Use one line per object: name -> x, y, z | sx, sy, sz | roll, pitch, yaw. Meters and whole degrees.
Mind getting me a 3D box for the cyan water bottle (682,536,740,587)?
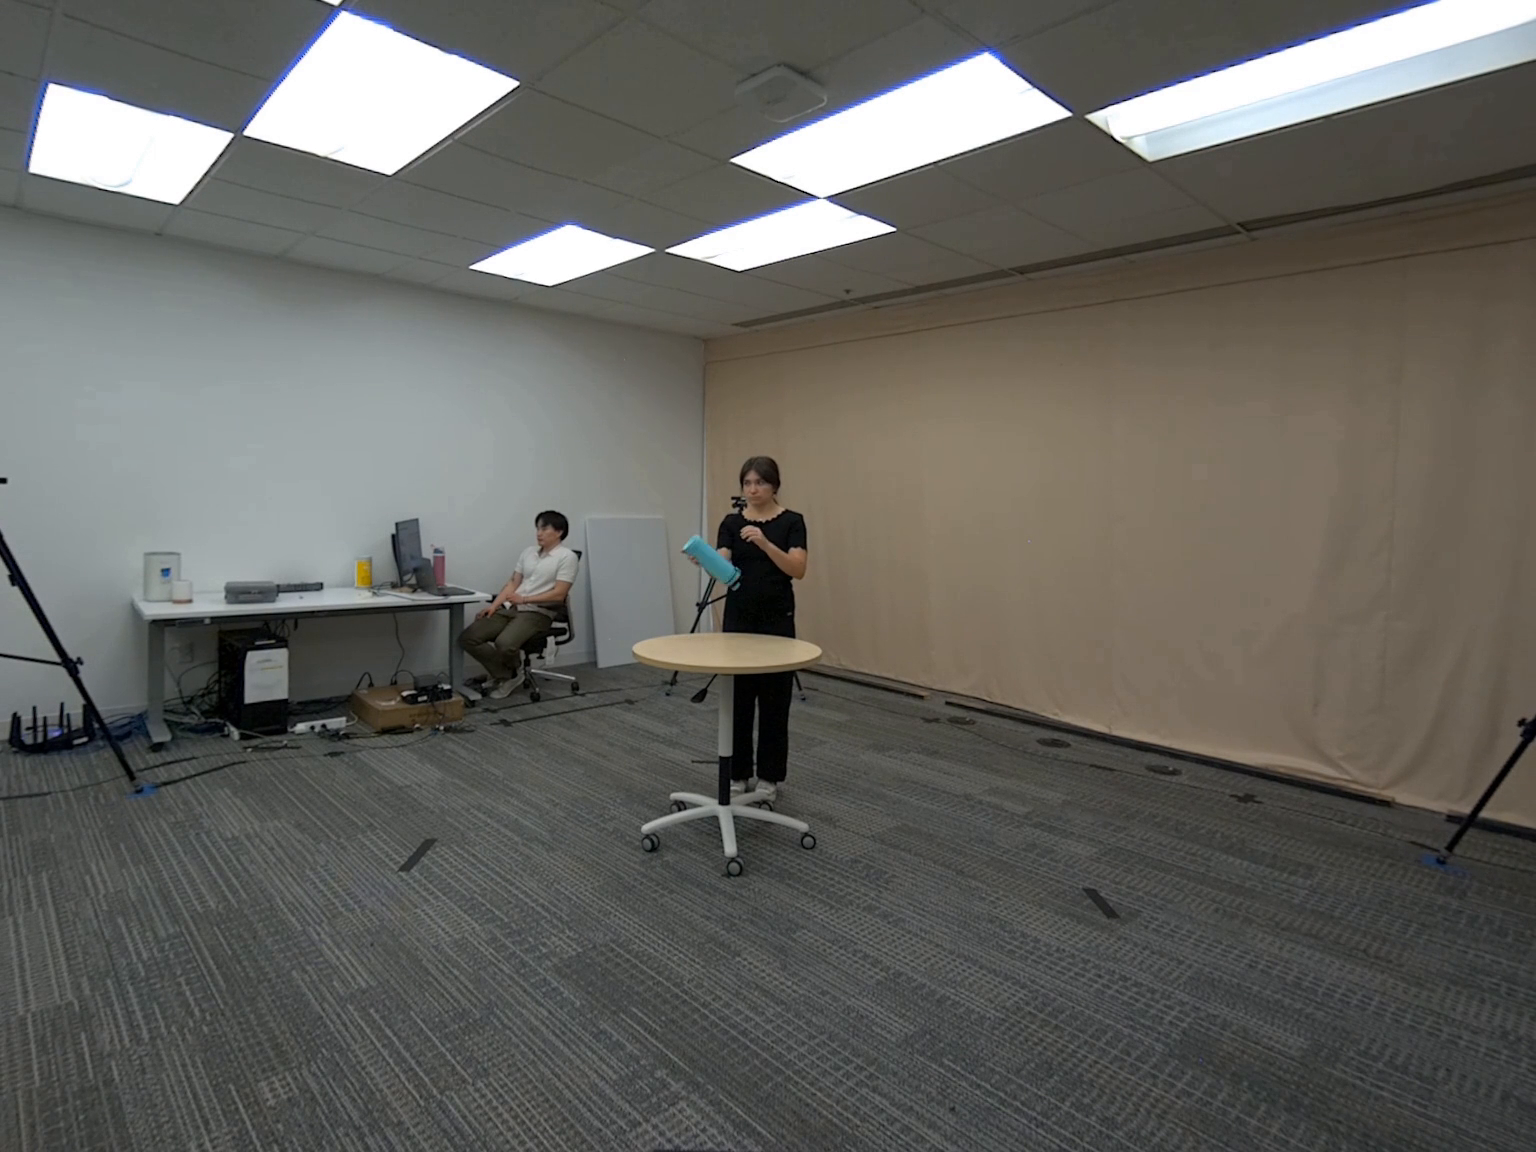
cyan water bottle -> -0.242, -0.050, 3.578 | 0.280, 0.092, 0.093 | 40, -5, -12
